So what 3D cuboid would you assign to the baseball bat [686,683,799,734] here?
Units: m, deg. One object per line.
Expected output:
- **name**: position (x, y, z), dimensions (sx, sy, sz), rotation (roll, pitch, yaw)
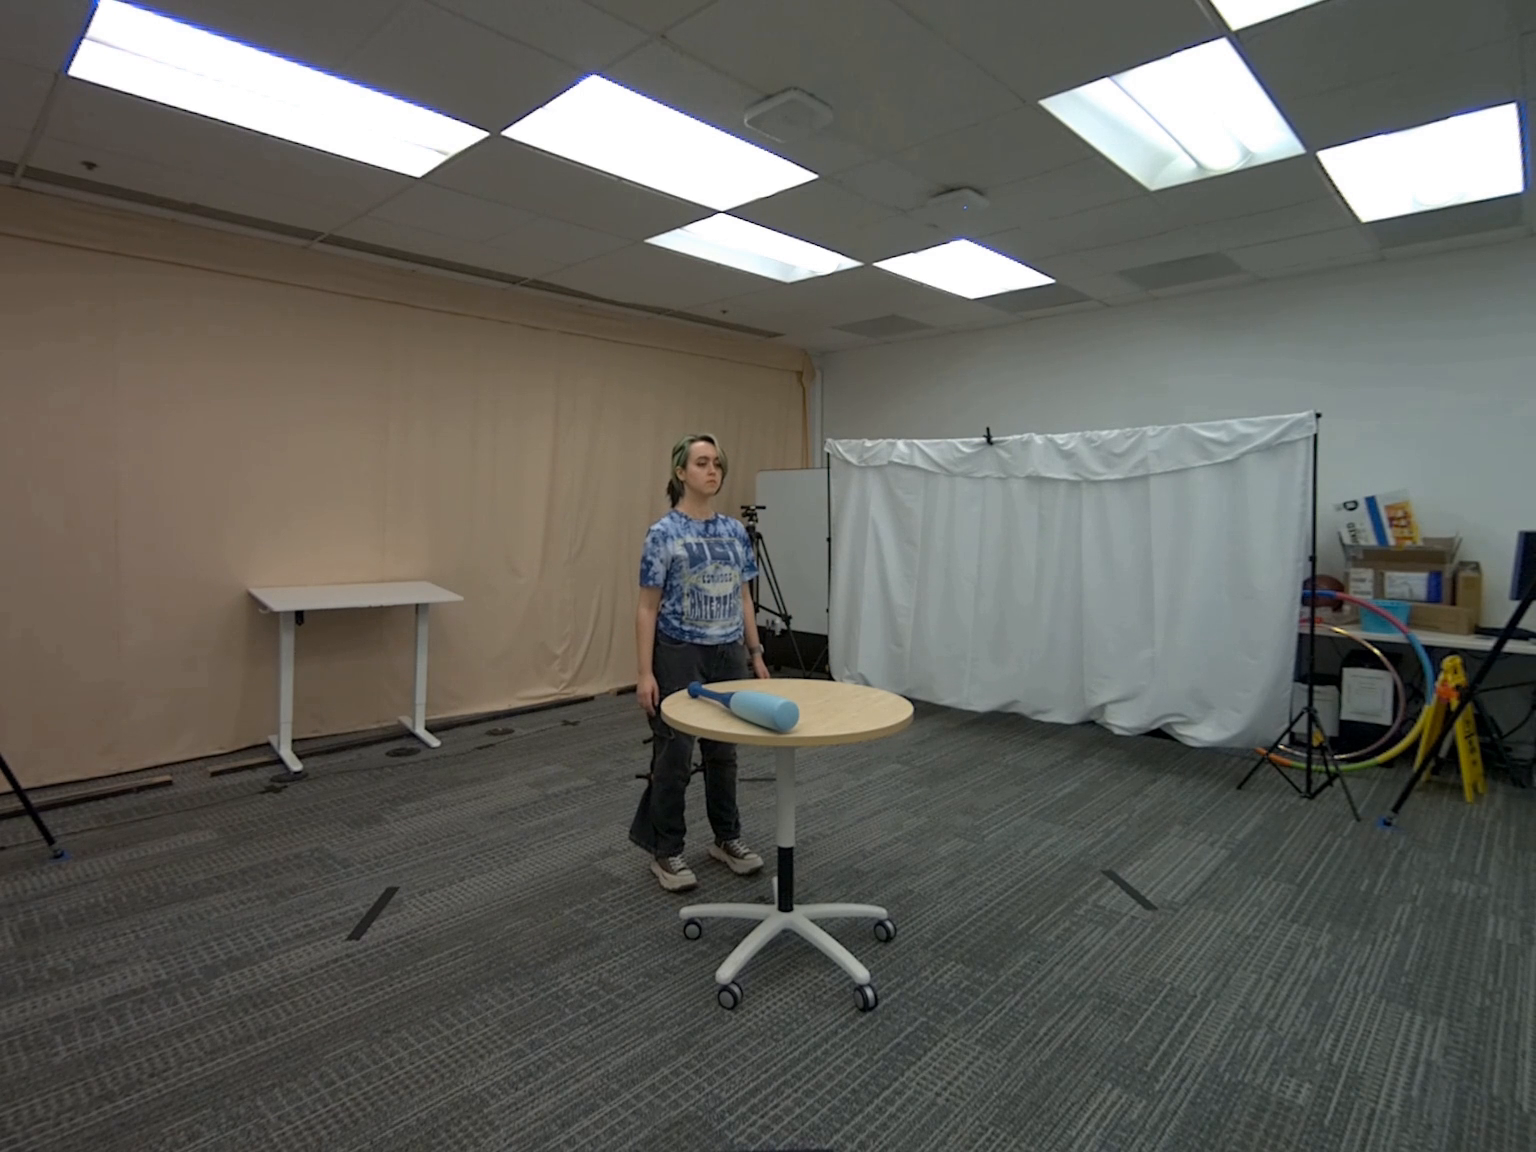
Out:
- **baseball bat**: position (-0.092, 0.372, 2.442), dimensions (0.086, 0.089, 0.558), rotation (-2, 1, -31)
